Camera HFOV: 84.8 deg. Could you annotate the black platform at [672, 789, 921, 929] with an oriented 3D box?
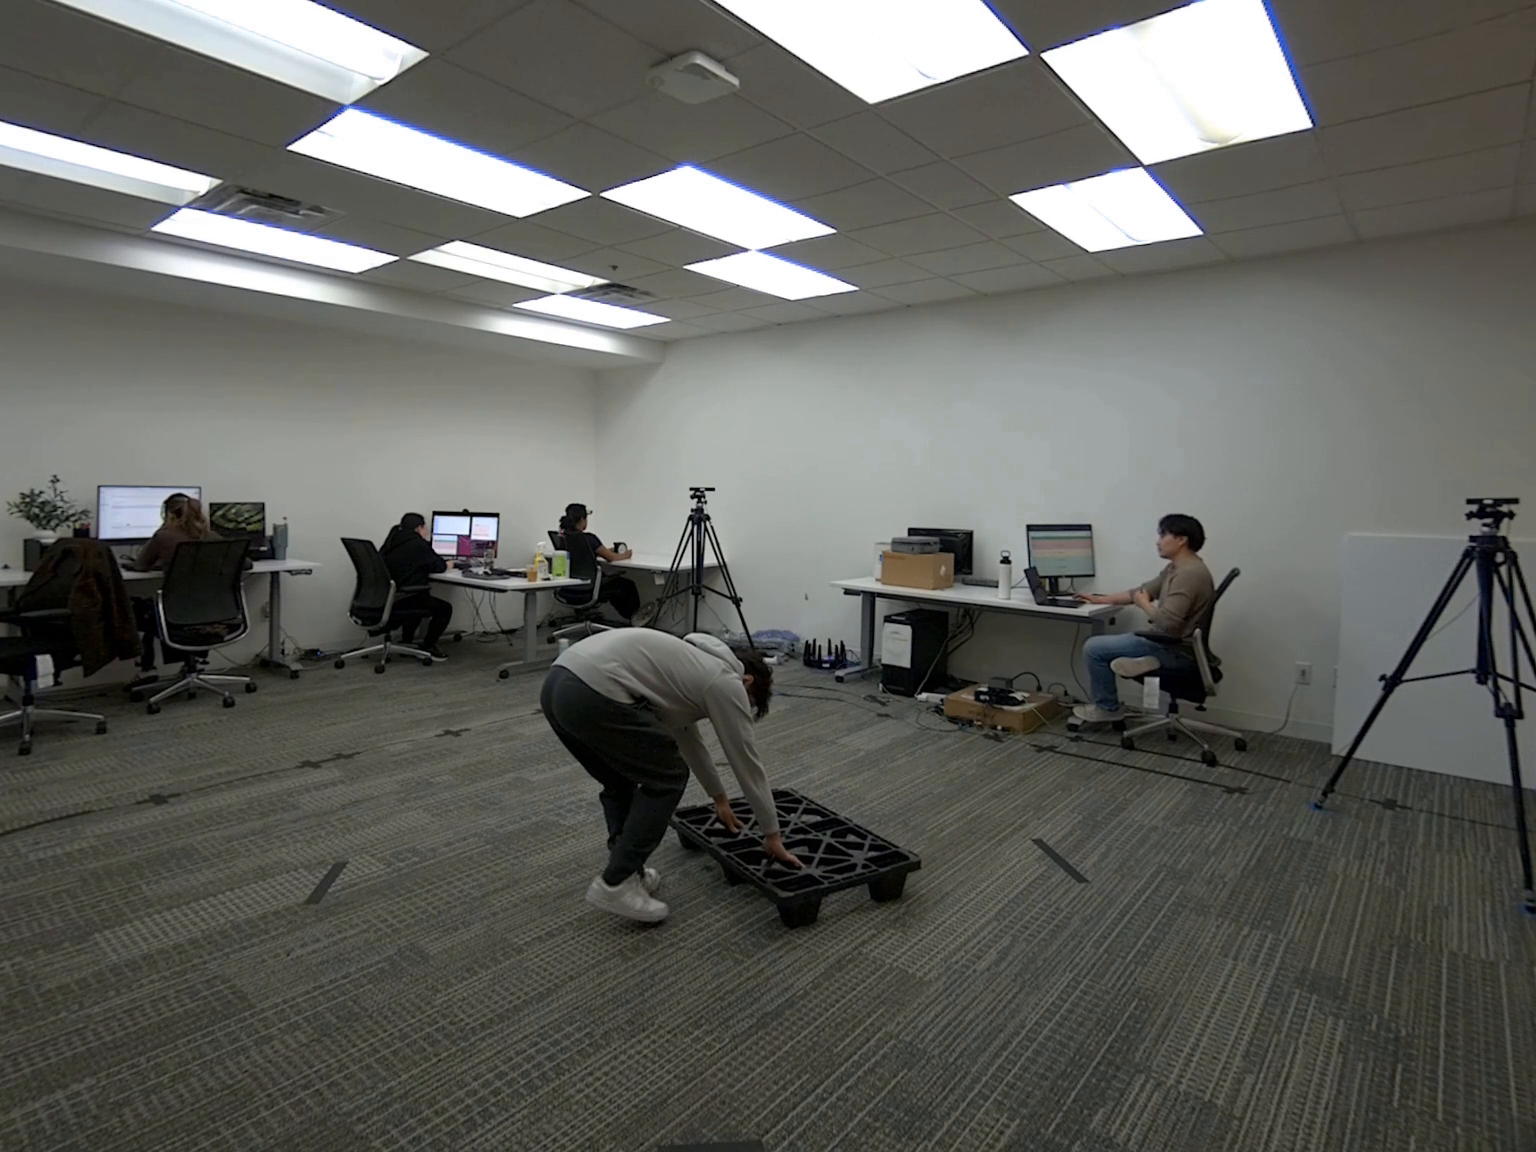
[{"bbox_3d":[0.057,1.003,3.111,0.588,0.143,0.831,-3,7,-33],"label":"black platform"}]
